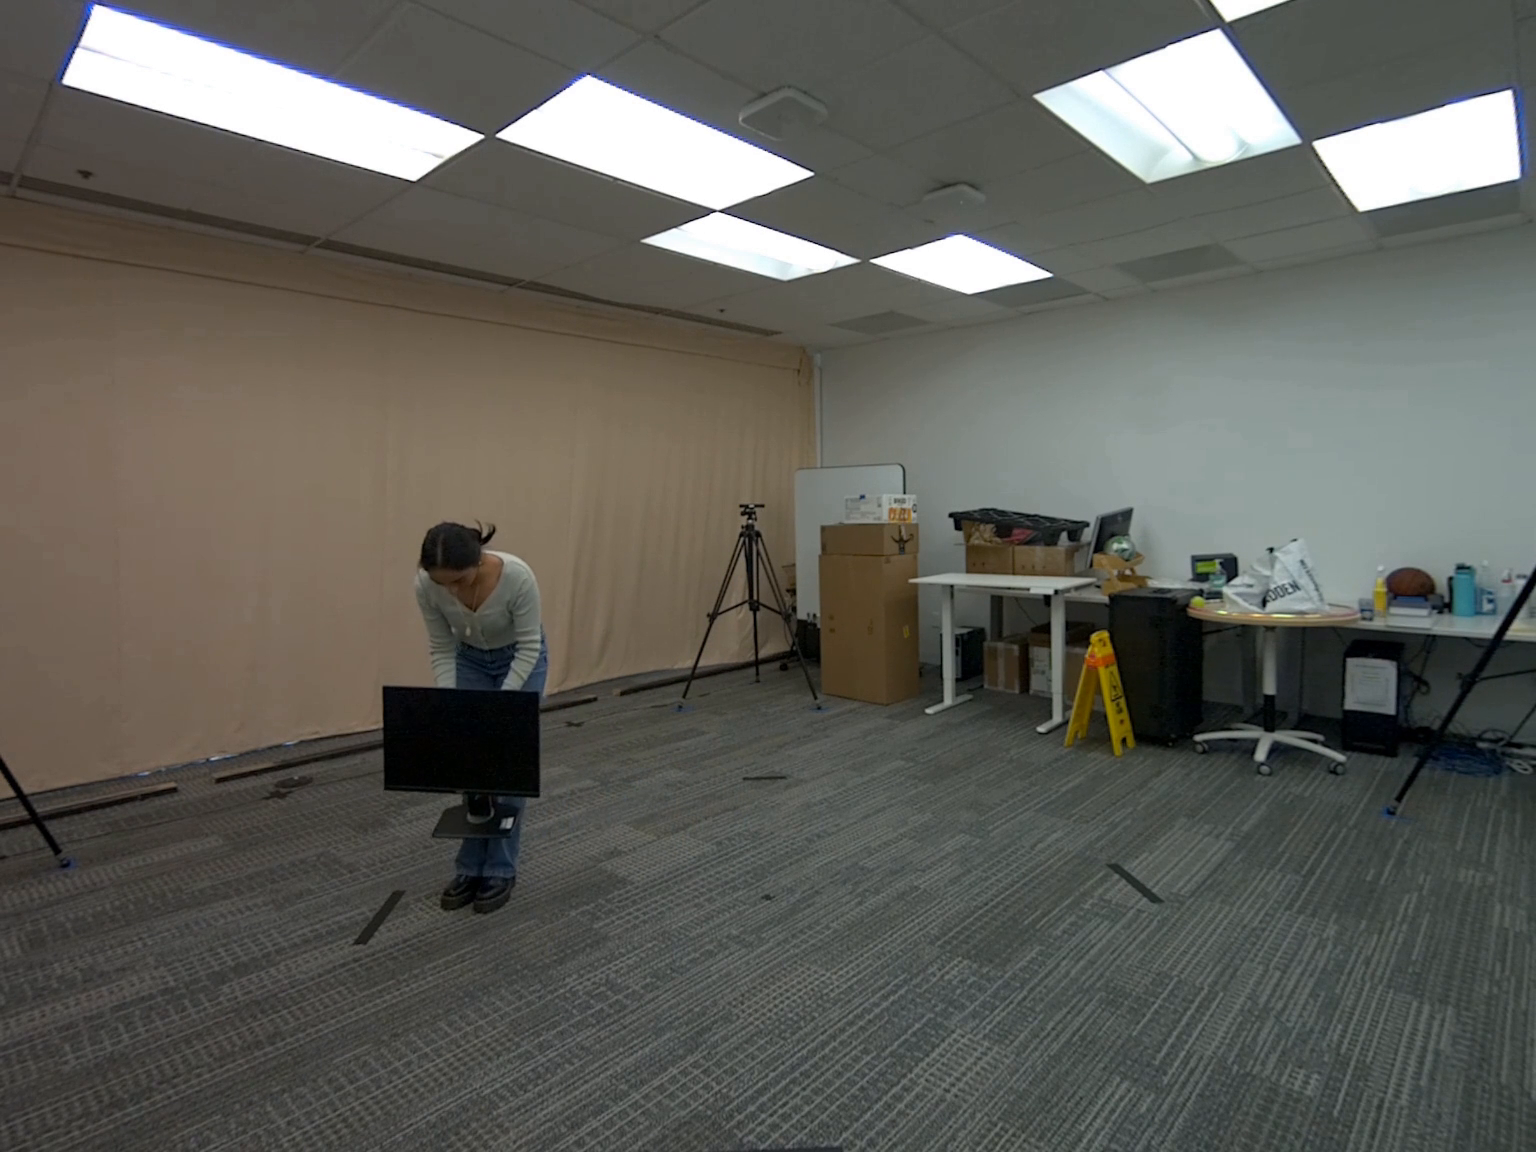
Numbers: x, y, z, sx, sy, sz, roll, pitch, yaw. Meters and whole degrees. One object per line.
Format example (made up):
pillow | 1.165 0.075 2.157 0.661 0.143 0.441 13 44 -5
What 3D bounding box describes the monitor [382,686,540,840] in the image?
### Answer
monitor | -1.001 0.617 2.817 0.533 0.509 0.176 2 21 5
